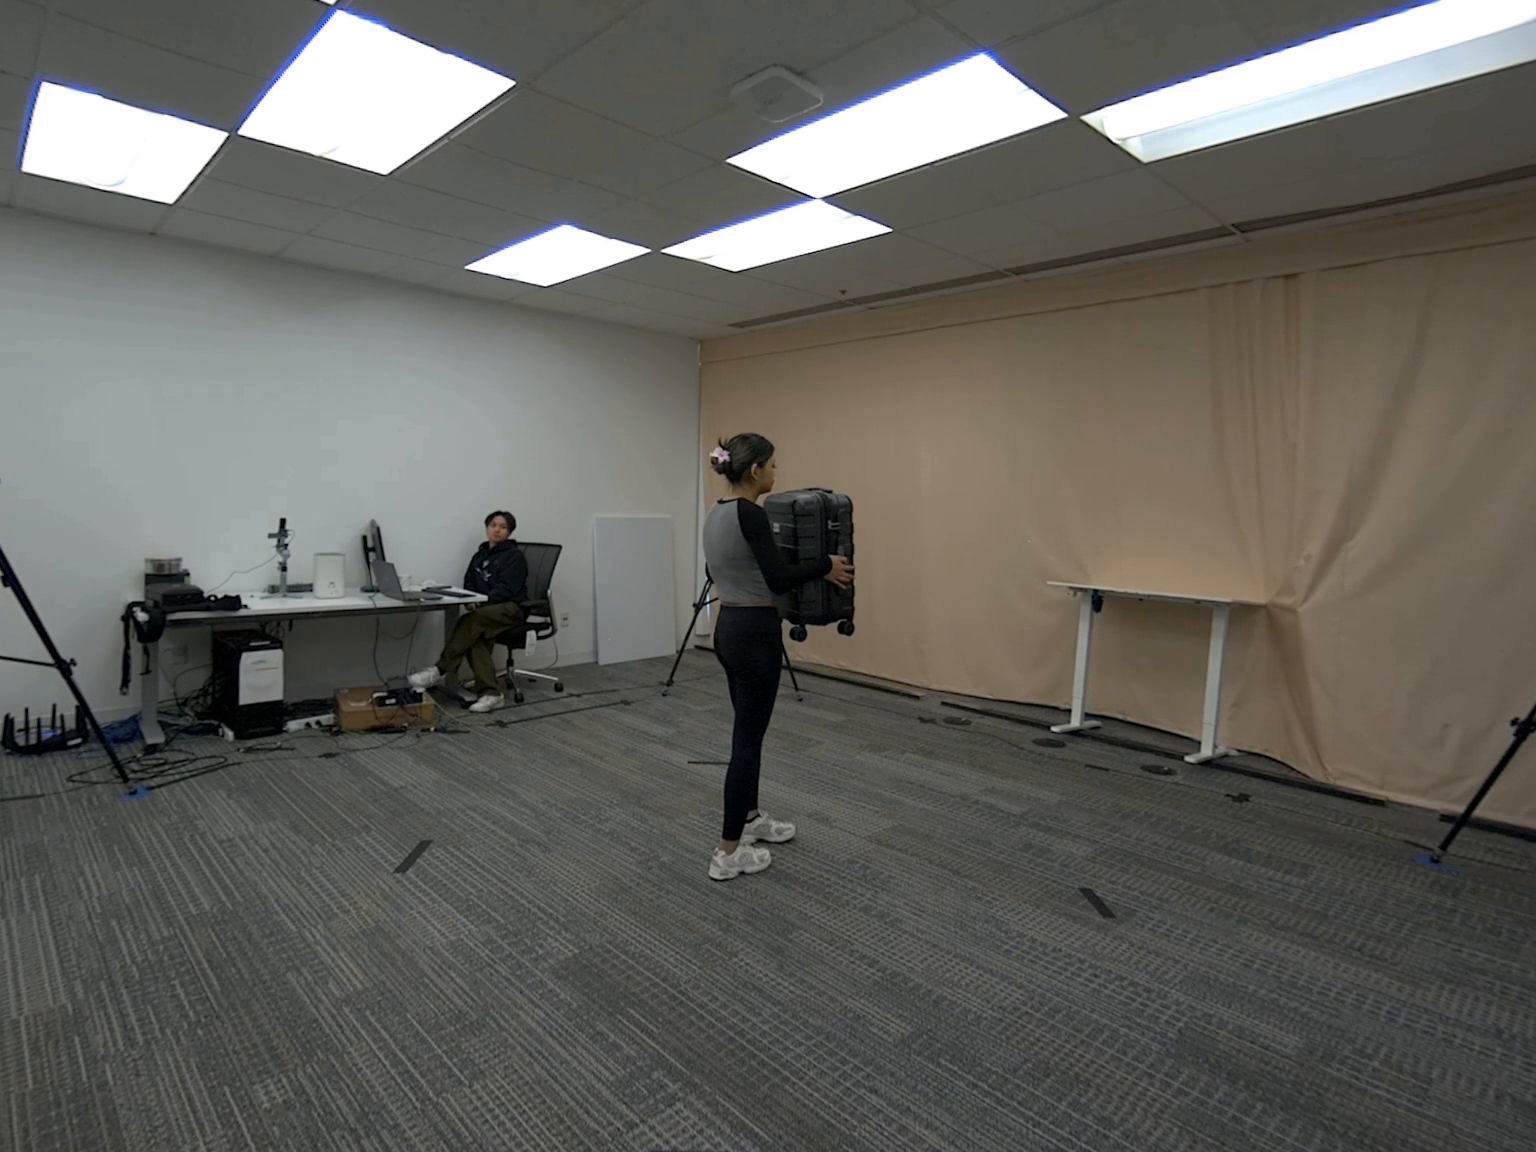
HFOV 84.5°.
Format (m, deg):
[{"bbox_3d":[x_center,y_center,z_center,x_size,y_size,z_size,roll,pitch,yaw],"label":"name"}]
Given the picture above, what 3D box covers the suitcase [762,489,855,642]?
[{"bbox_3d":[0.146,-0.064,3.270,0.244,0.546,0.384,-4,8,-25],"label":"suitcase"}]
